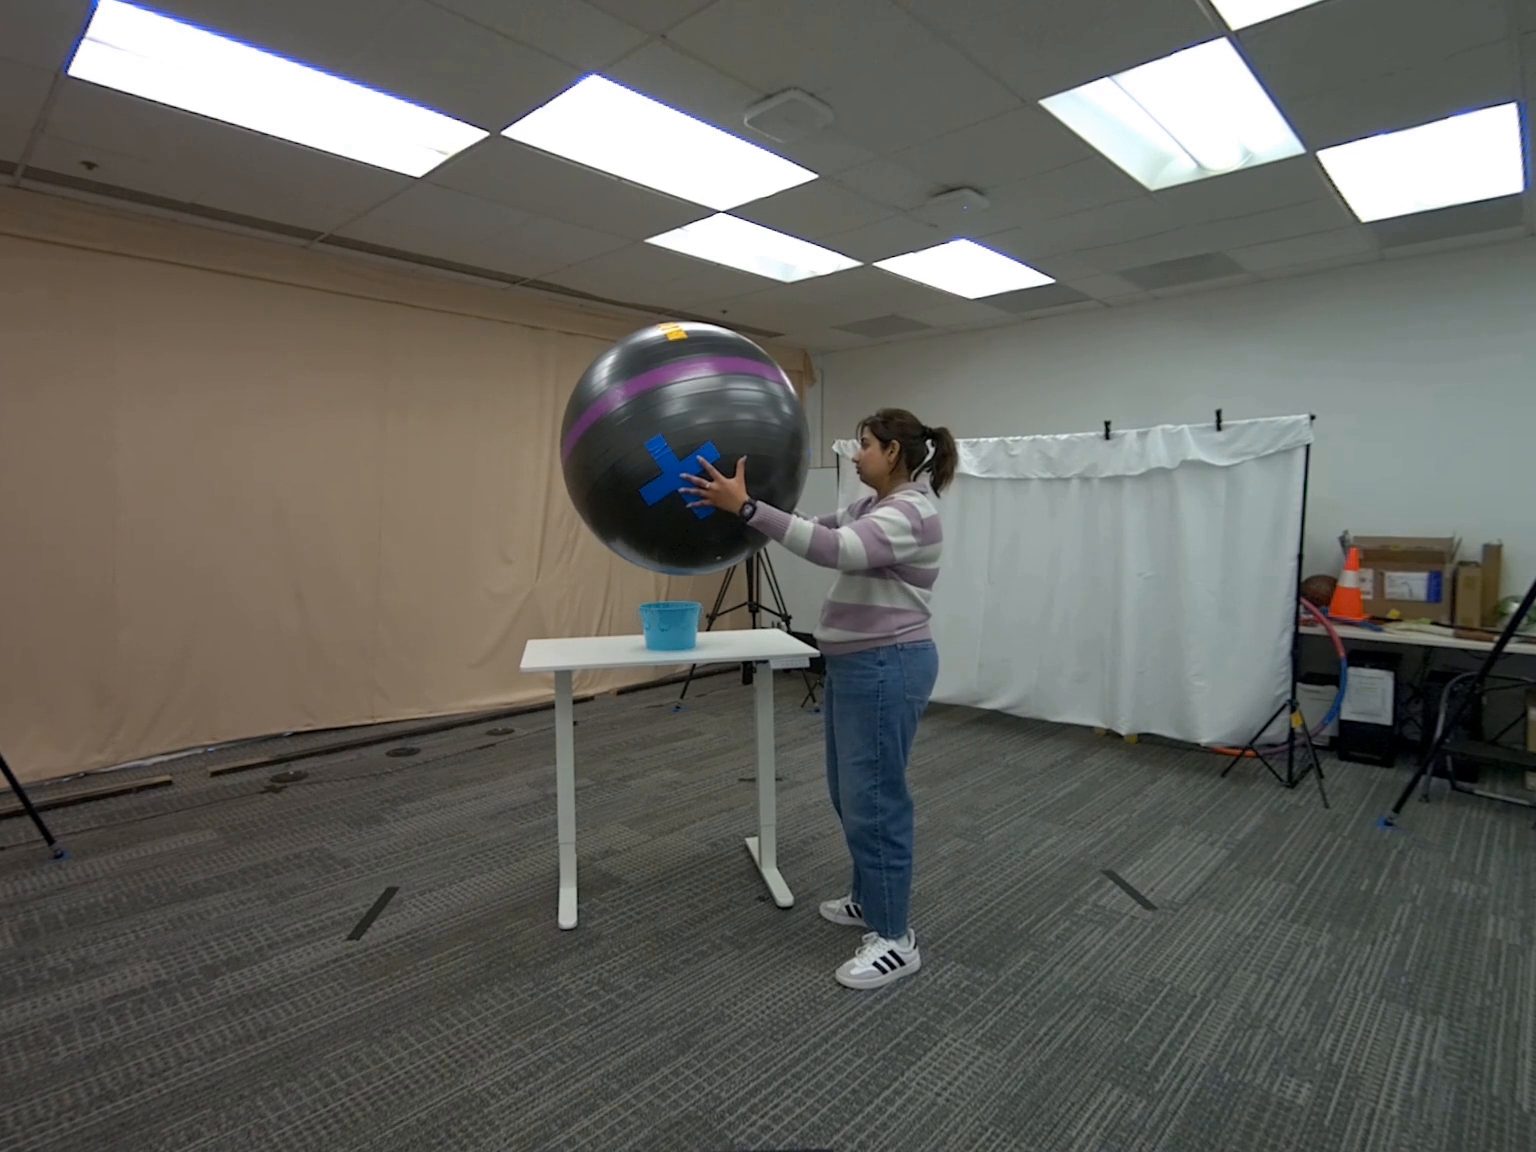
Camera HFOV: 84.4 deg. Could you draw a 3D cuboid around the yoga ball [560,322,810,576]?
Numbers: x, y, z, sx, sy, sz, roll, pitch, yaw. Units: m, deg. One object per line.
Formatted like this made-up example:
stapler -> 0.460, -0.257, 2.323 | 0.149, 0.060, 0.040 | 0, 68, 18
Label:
yoga ball -> -0.255, -0.377, 2.562 | 0.757, 0.756, 0.760 | 0, 4, -2
